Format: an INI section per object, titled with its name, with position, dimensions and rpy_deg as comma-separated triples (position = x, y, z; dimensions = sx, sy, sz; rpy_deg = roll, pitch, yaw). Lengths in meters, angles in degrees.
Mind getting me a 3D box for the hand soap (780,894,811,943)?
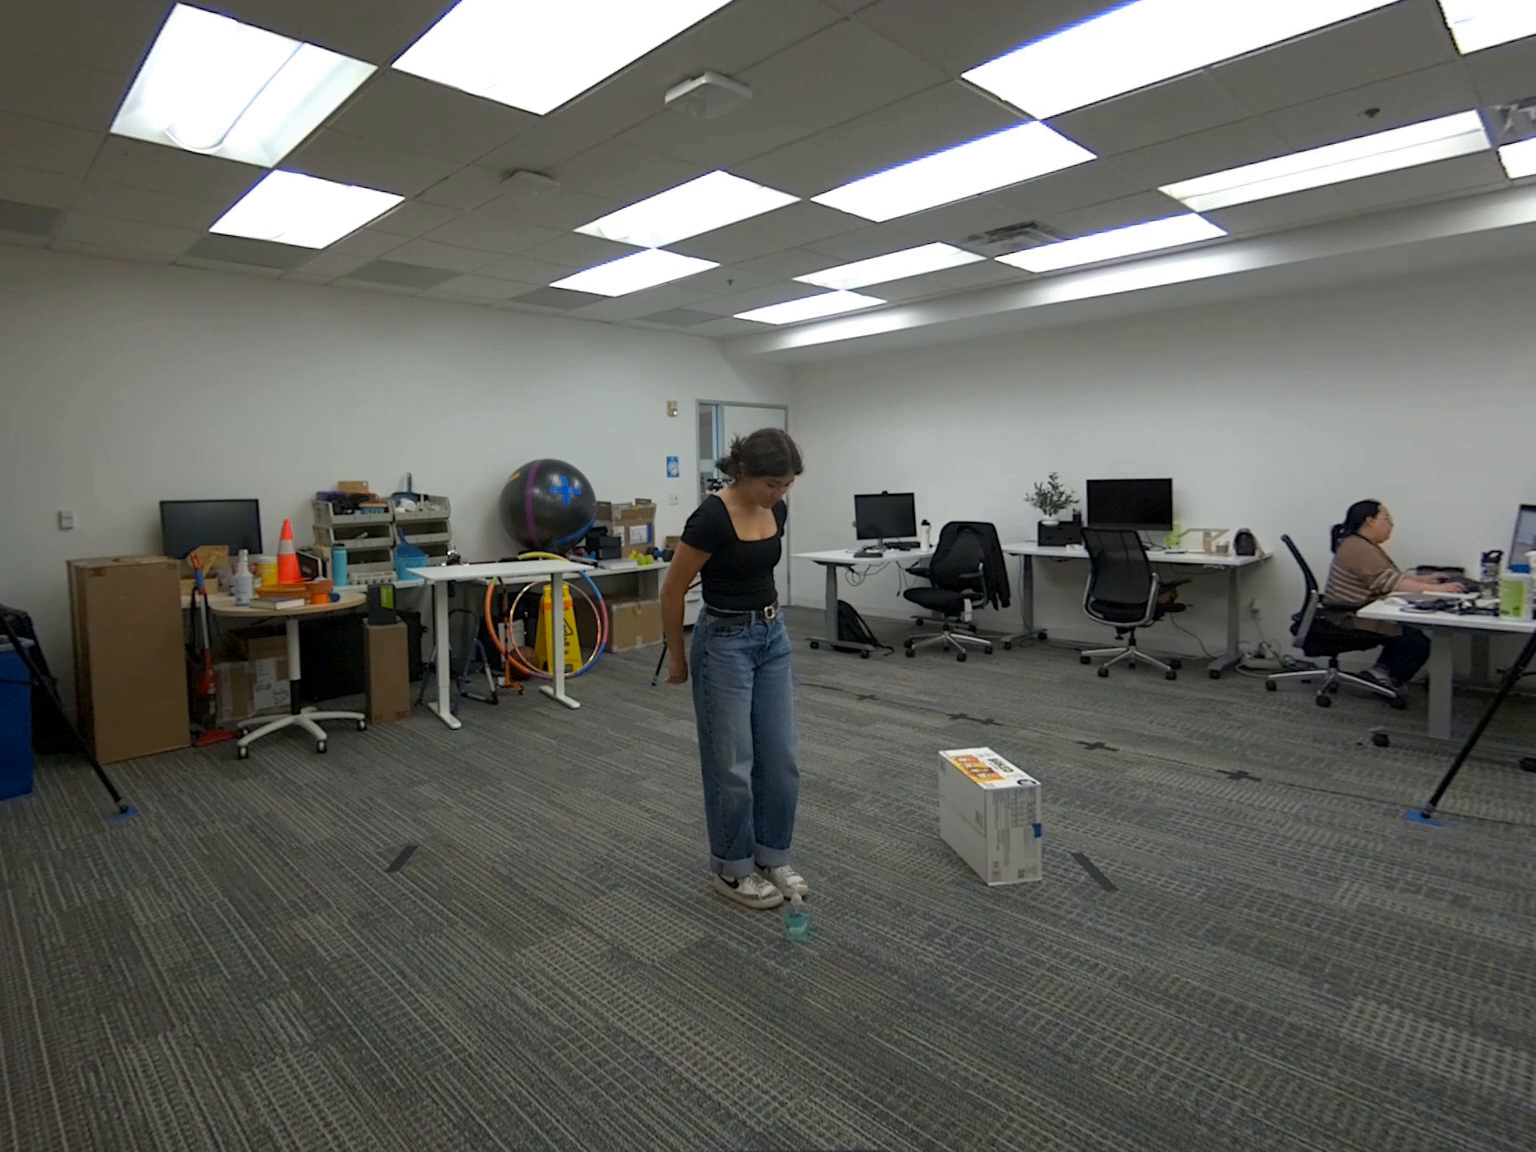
[hand soap]
position = 0.095, 1.024, 2.592
dimensions = 0.085, 0.168, 0.043
rpy_deg = 2, 0, 12
